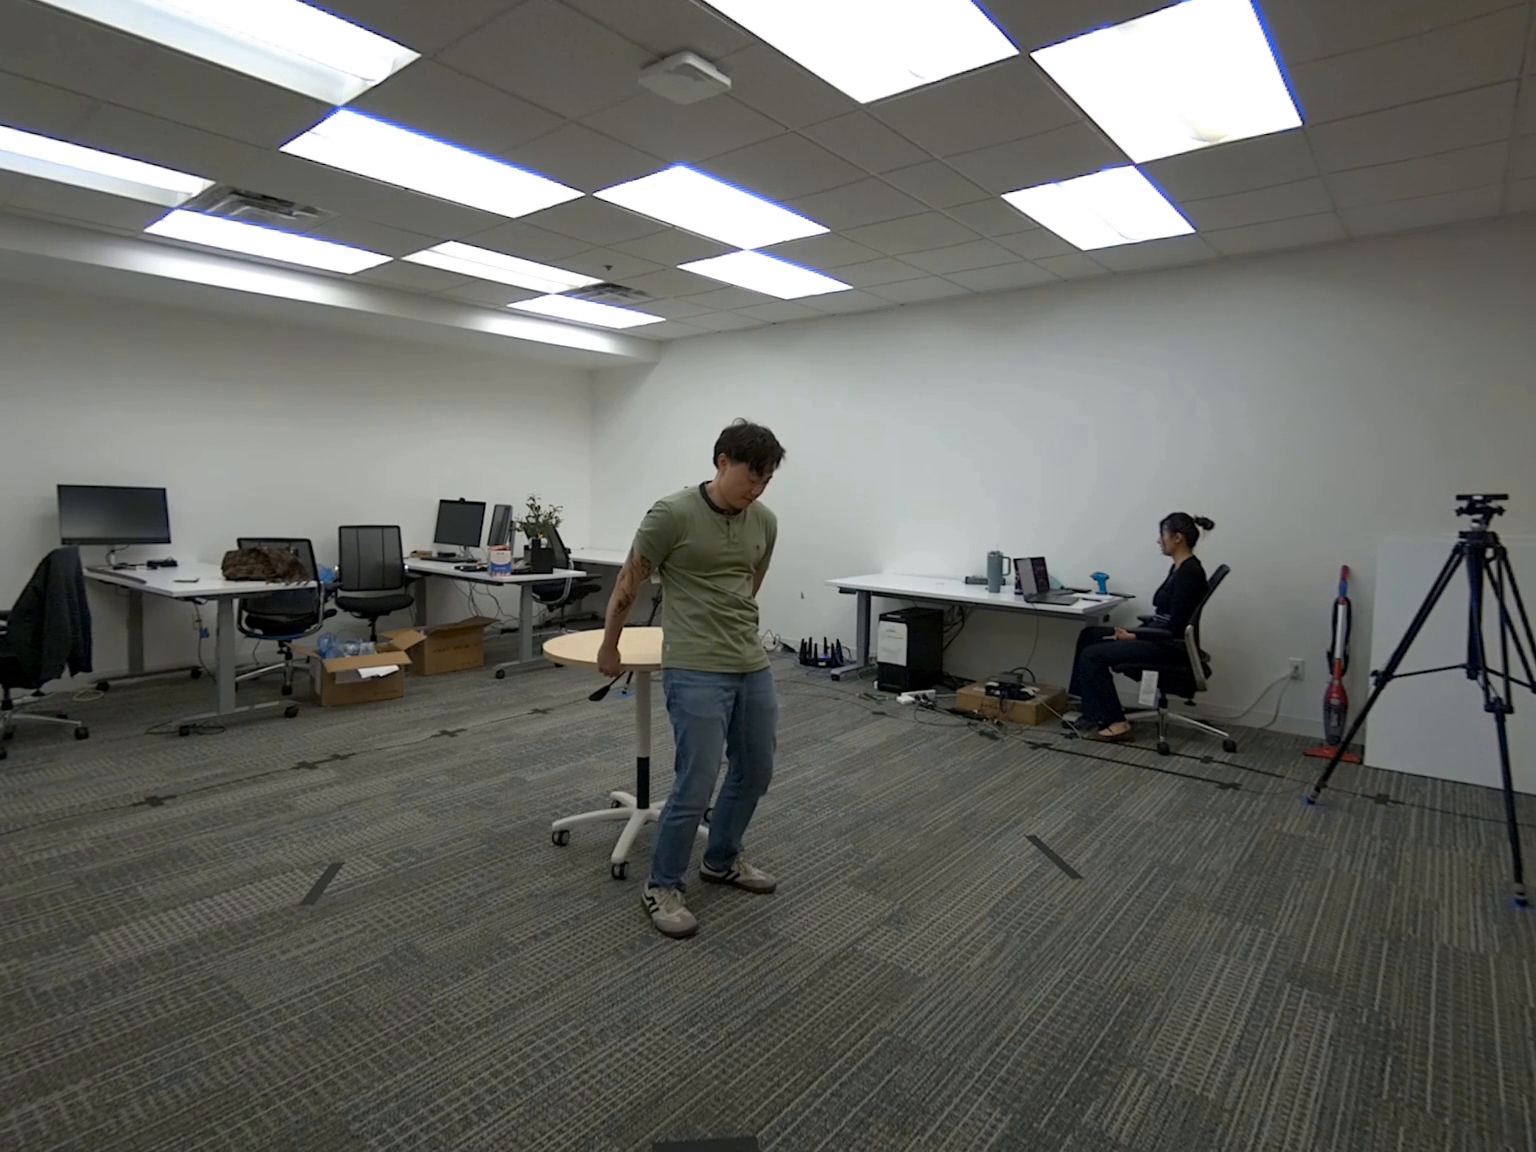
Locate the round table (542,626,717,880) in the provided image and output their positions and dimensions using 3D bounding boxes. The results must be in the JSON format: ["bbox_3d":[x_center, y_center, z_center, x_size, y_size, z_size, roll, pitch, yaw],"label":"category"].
[{"bbox_3d":[-0.497,0.651,3.310,0.763,0.791,0.768,0,4,-2],"label":"round table"}]
